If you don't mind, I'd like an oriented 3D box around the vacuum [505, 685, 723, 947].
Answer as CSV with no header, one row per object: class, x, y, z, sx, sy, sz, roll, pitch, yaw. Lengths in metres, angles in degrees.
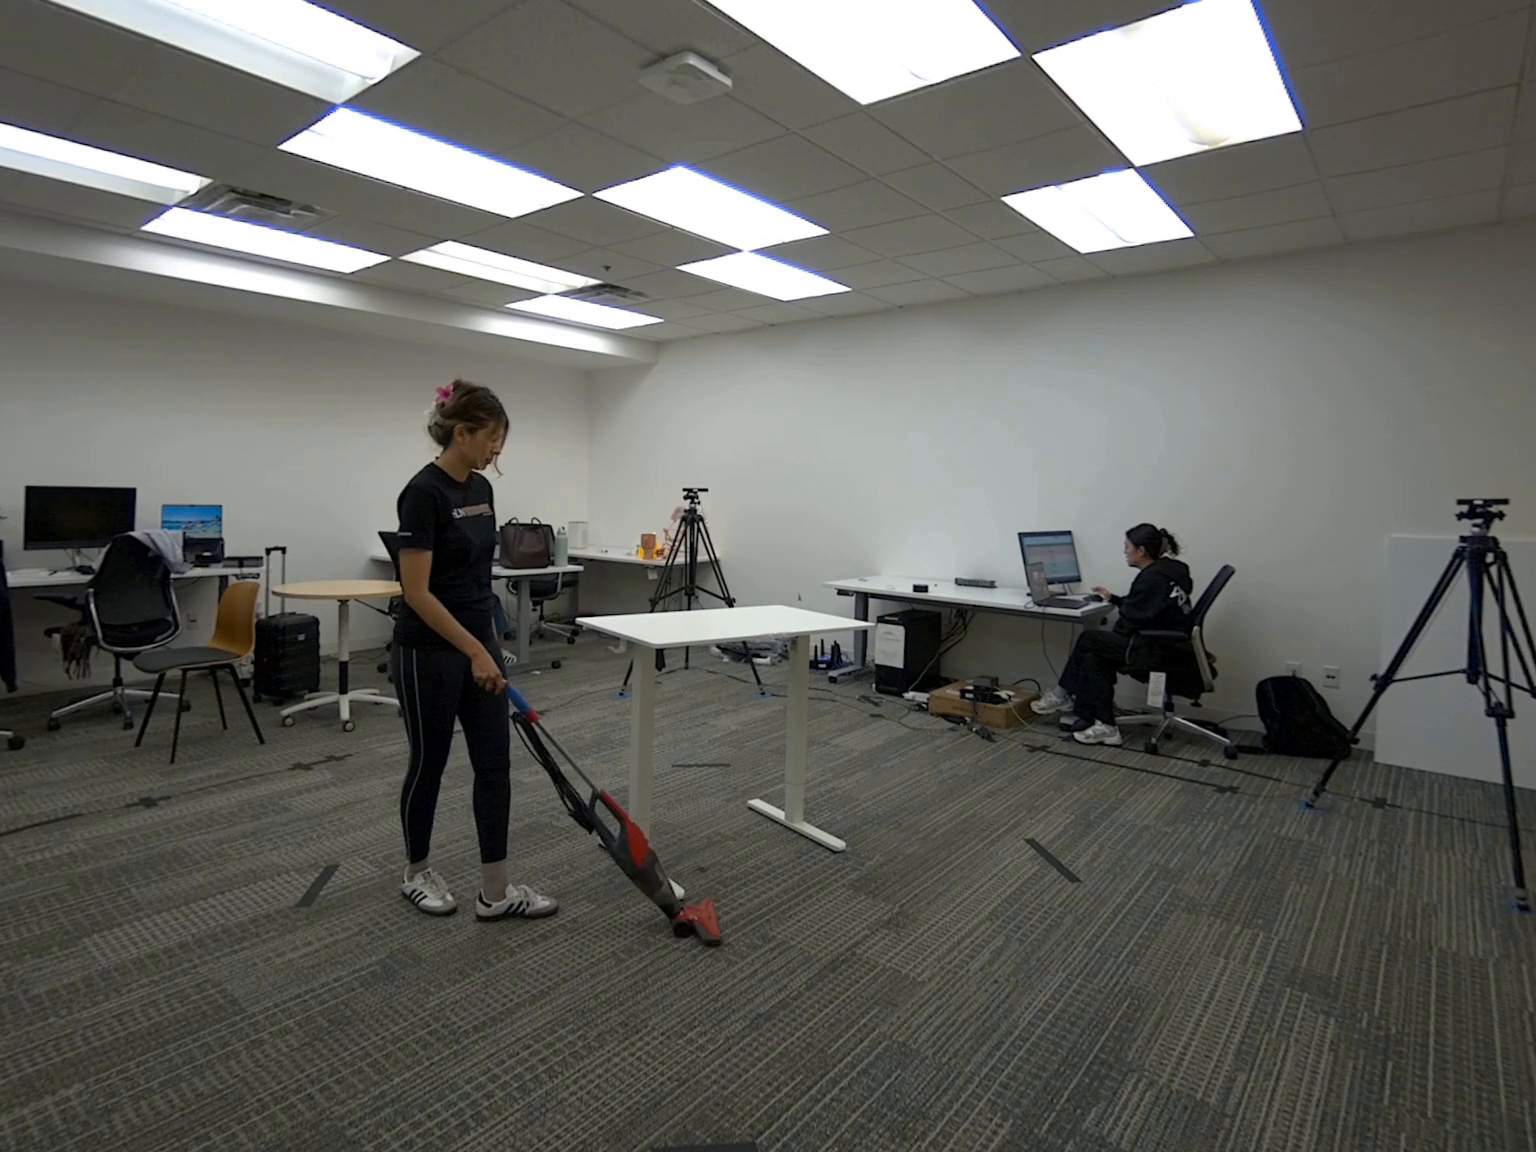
vacuum,-0.564,0.707,2.631,0.144,1.038,0.255,-41,7,1
